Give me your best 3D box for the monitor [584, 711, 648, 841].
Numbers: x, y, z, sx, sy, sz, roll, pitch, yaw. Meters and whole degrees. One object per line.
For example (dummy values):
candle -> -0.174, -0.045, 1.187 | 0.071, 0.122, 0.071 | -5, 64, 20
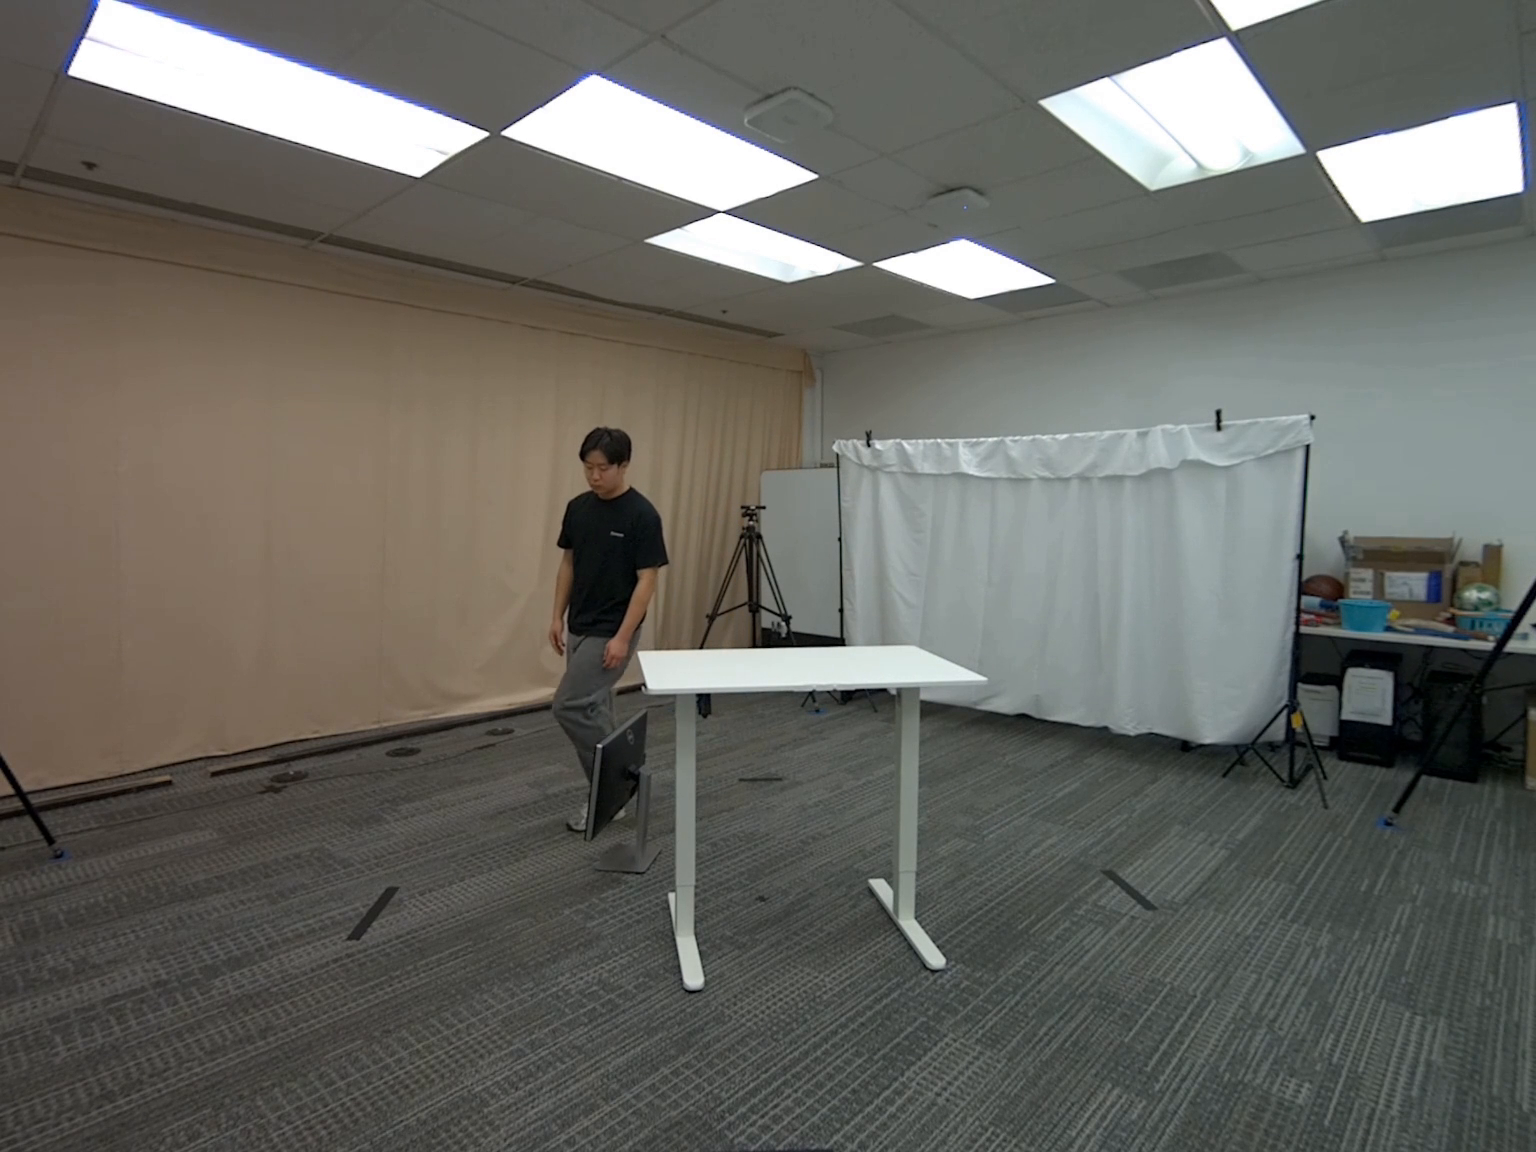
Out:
monitor -> -0.557, 0.863, 3.307 | 0.225, 0.565, 0.555 | -4, 3, 12
